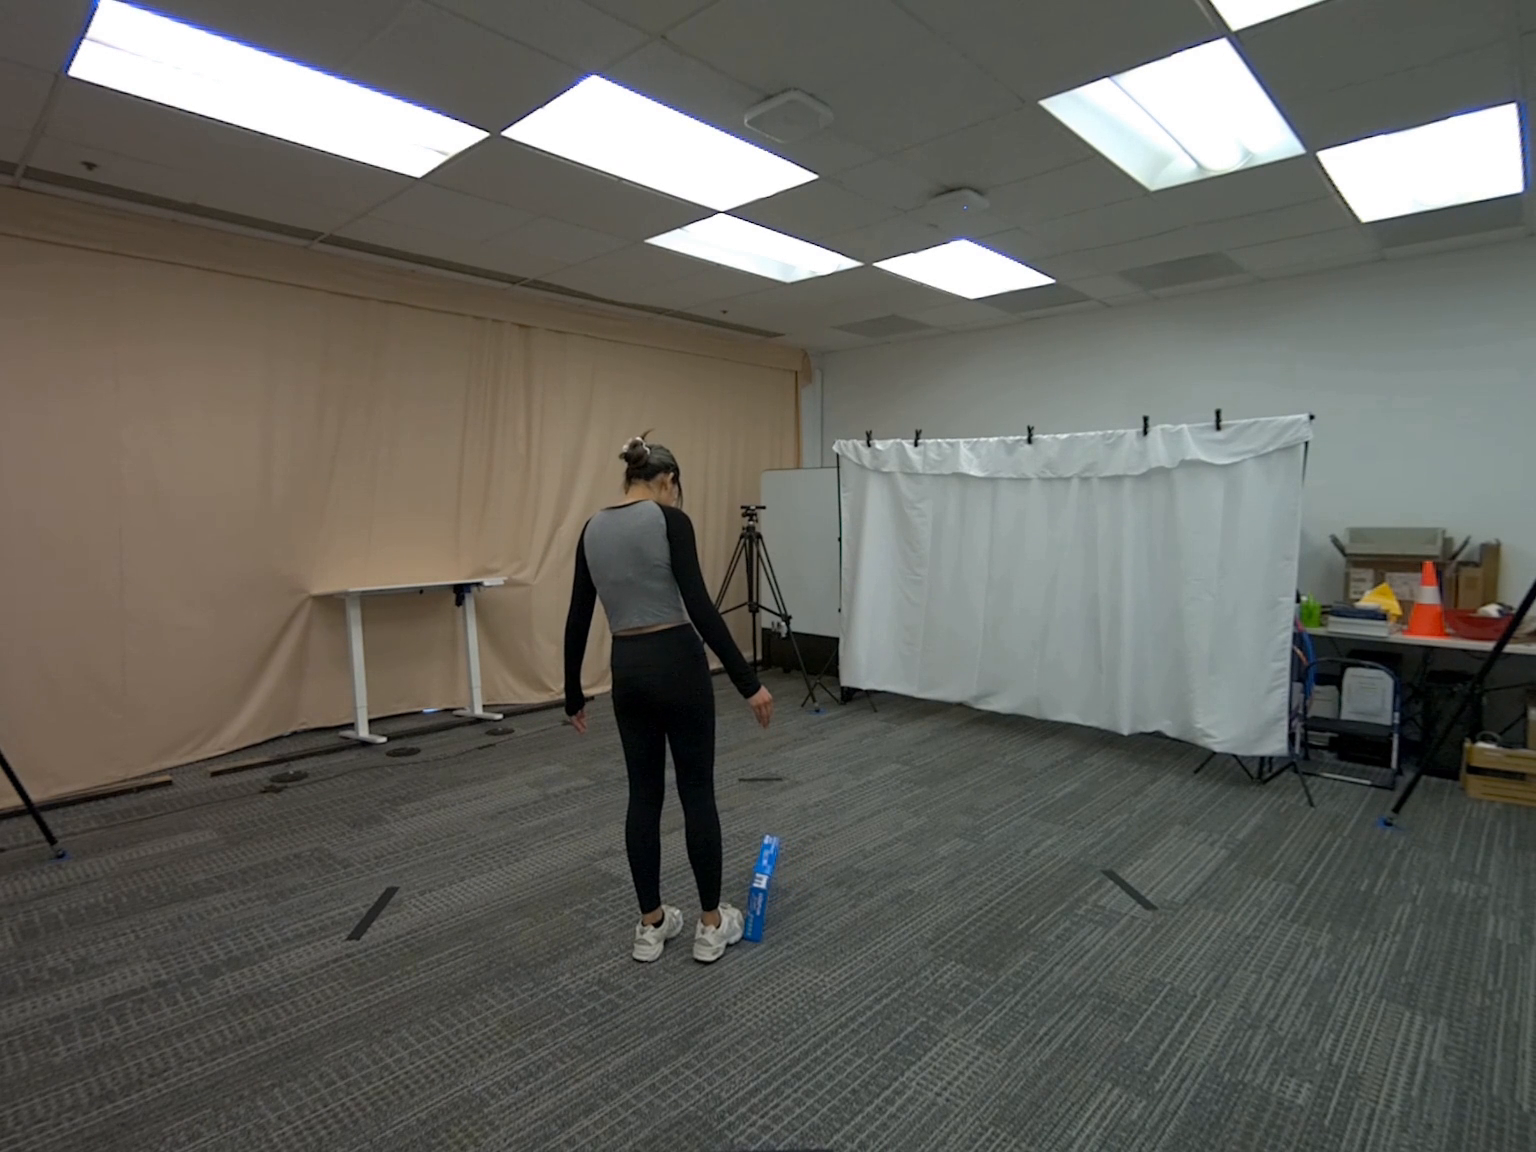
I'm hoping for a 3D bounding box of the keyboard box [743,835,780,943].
[{"bbox_3d":[-0.014,1.060,2.898,0.059,0.175,0.434,7,5,5],"label":"keyboard box"}]
